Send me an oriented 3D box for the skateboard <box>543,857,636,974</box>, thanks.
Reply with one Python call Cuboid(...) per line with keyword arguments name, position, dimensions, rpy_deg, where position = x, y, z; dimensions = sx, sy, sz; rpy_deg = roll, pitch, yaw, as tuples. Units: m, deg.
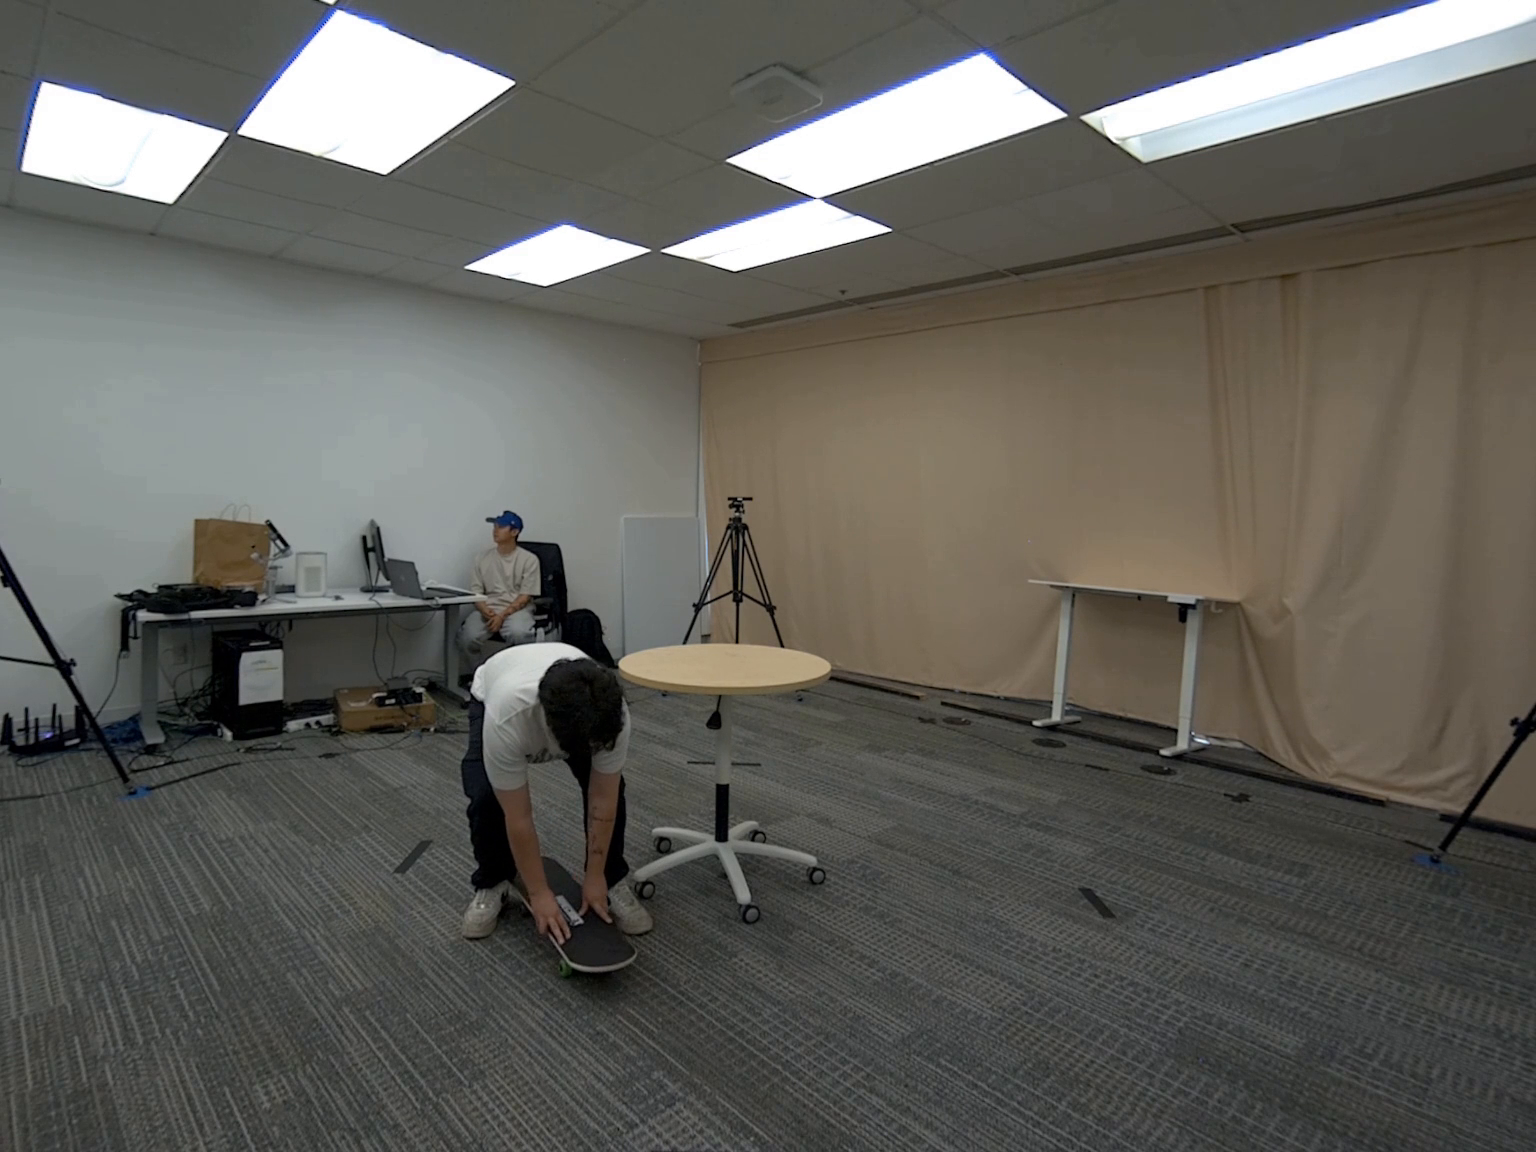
Cuboid(name="skateboard", position=(-0.638, 1.085, 2.641), dimensions=(0.189, 0.110, 0.804), rpy_deg=(-1, 6, -32))
